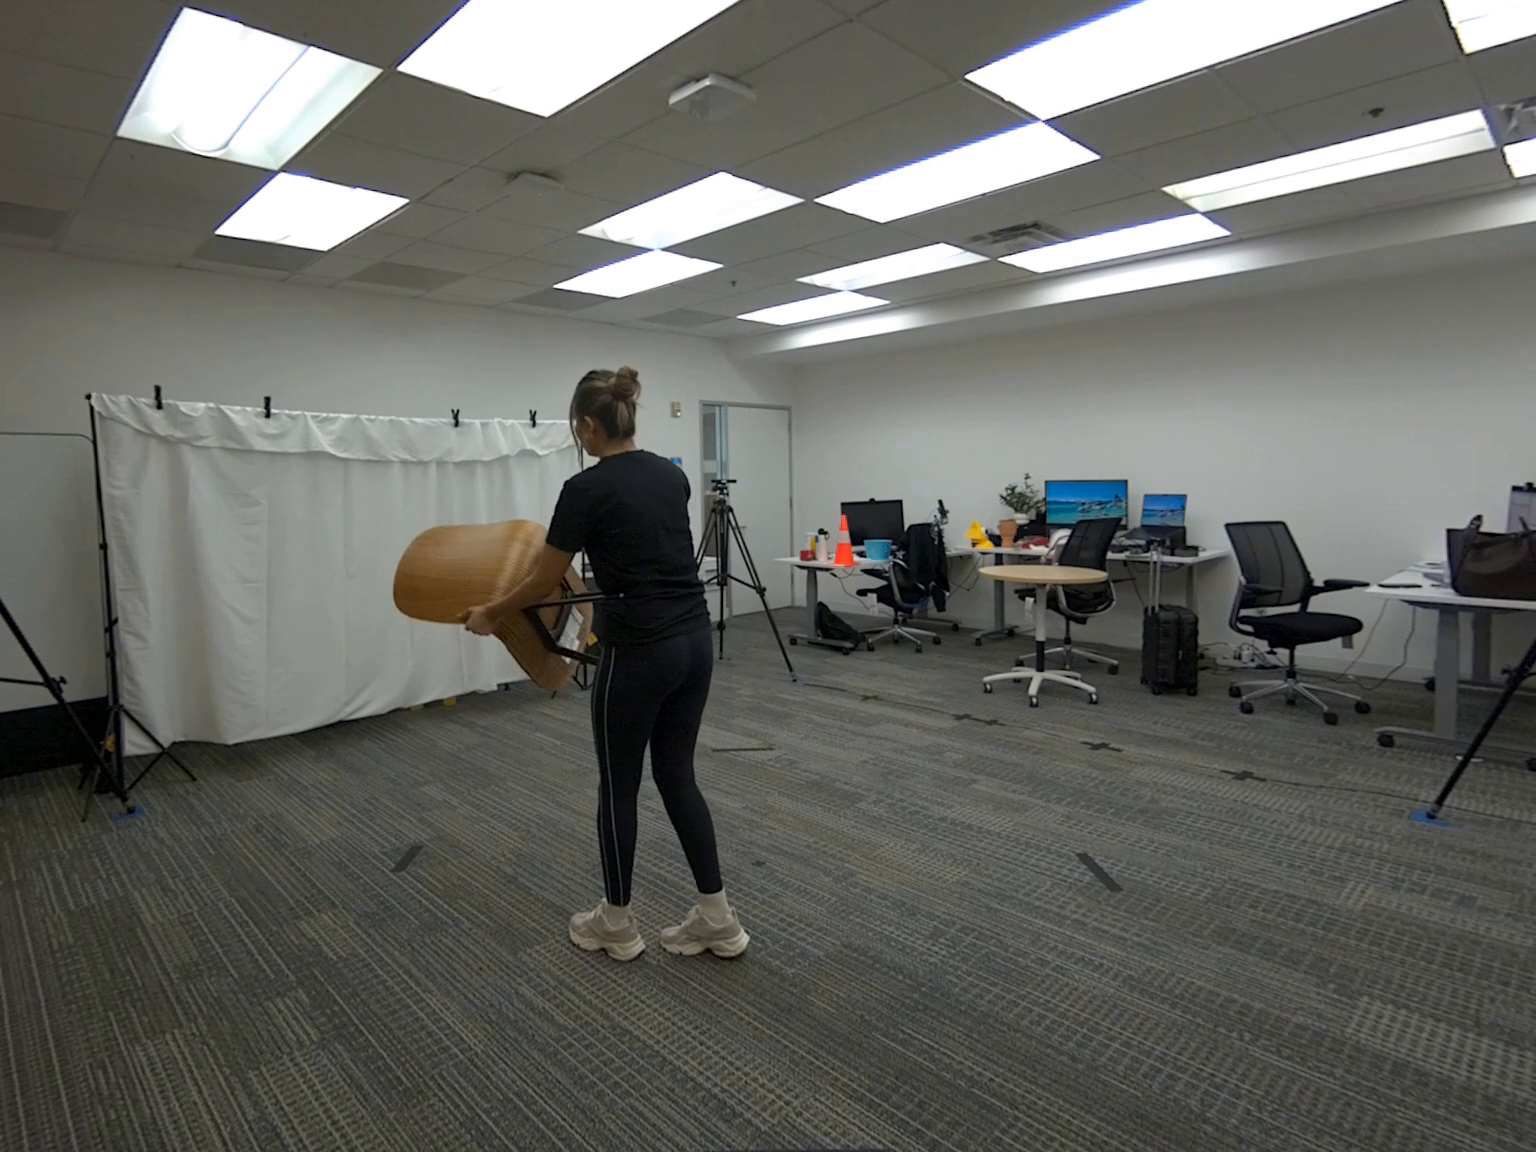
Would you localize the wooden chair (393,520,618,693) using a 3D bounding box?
[{"bbox_3d":[-0.710,0.090,2.823,0.891,0.487,0.504,-3,-42,17],"label":"wooden chair"}]
